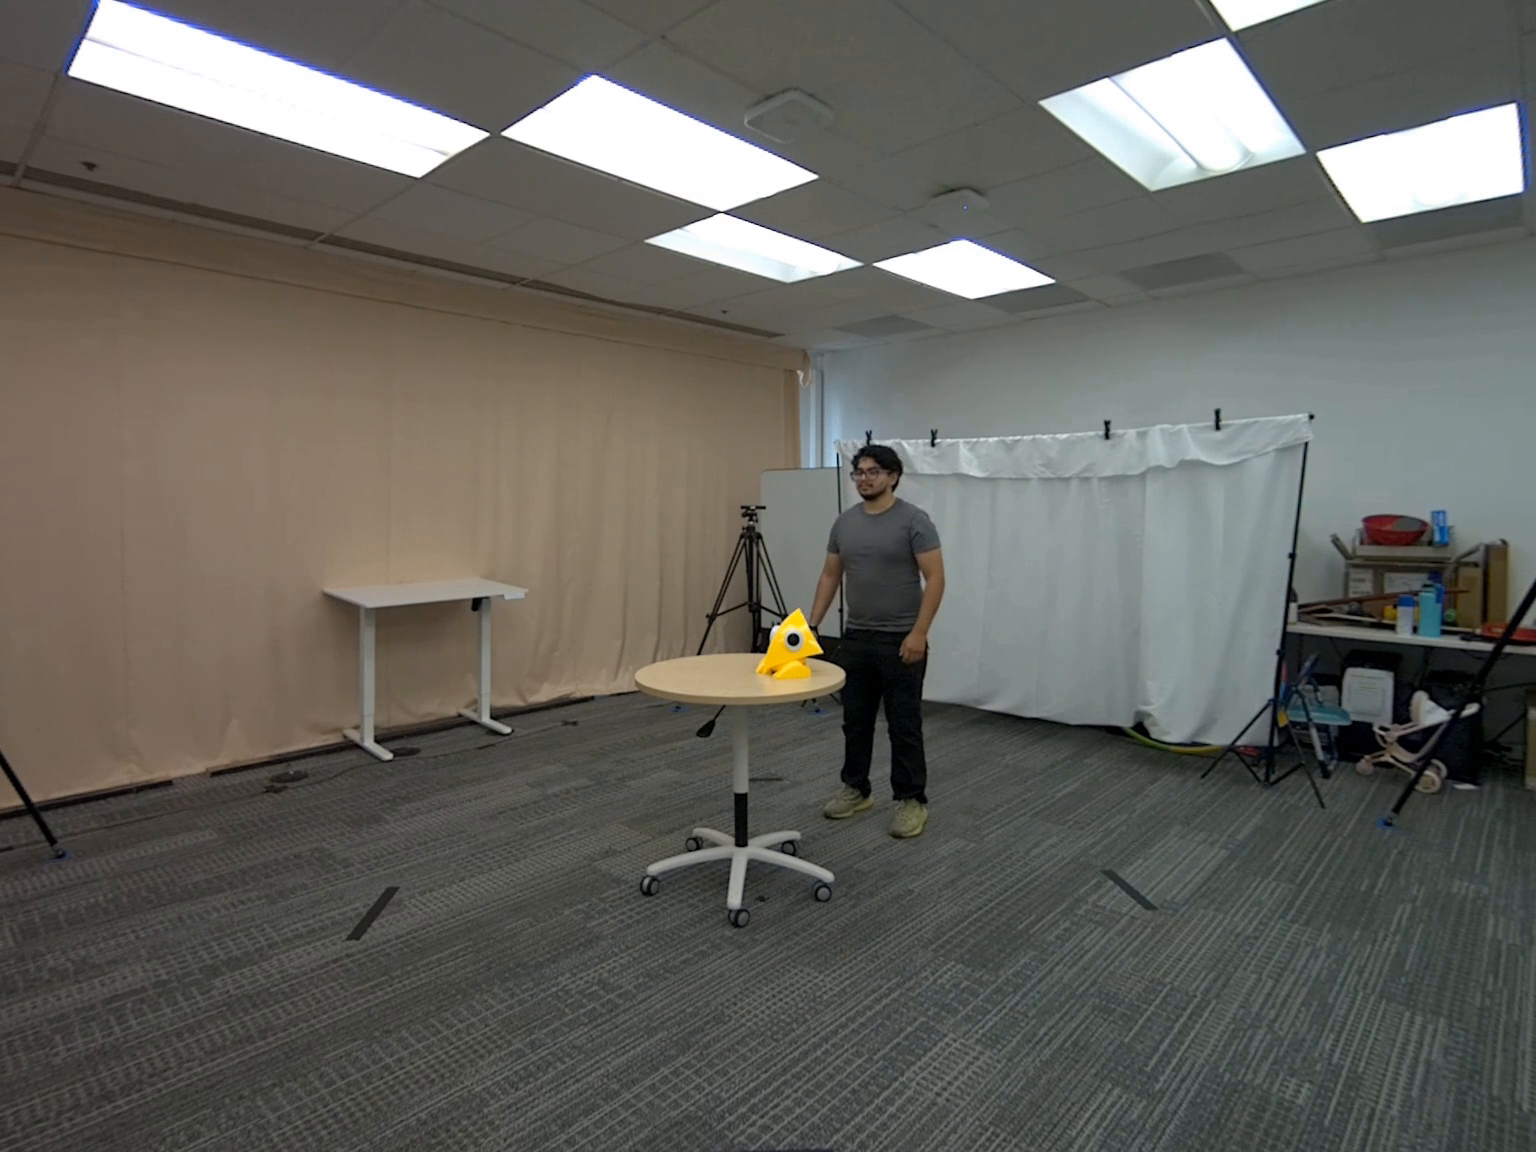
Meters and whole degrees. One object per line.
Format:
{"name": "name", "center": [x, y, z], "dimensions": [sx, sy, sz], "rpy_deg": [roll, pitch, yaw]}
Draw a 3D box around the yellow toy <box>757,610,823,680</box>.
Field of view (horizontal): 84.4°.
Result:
{"name": "yellow toy", "center": [0.069, 0.238, 3.050], "dimensions": [0.188, 0.230, 0.211], "rpy_deg": [-3, 5, -32]}
